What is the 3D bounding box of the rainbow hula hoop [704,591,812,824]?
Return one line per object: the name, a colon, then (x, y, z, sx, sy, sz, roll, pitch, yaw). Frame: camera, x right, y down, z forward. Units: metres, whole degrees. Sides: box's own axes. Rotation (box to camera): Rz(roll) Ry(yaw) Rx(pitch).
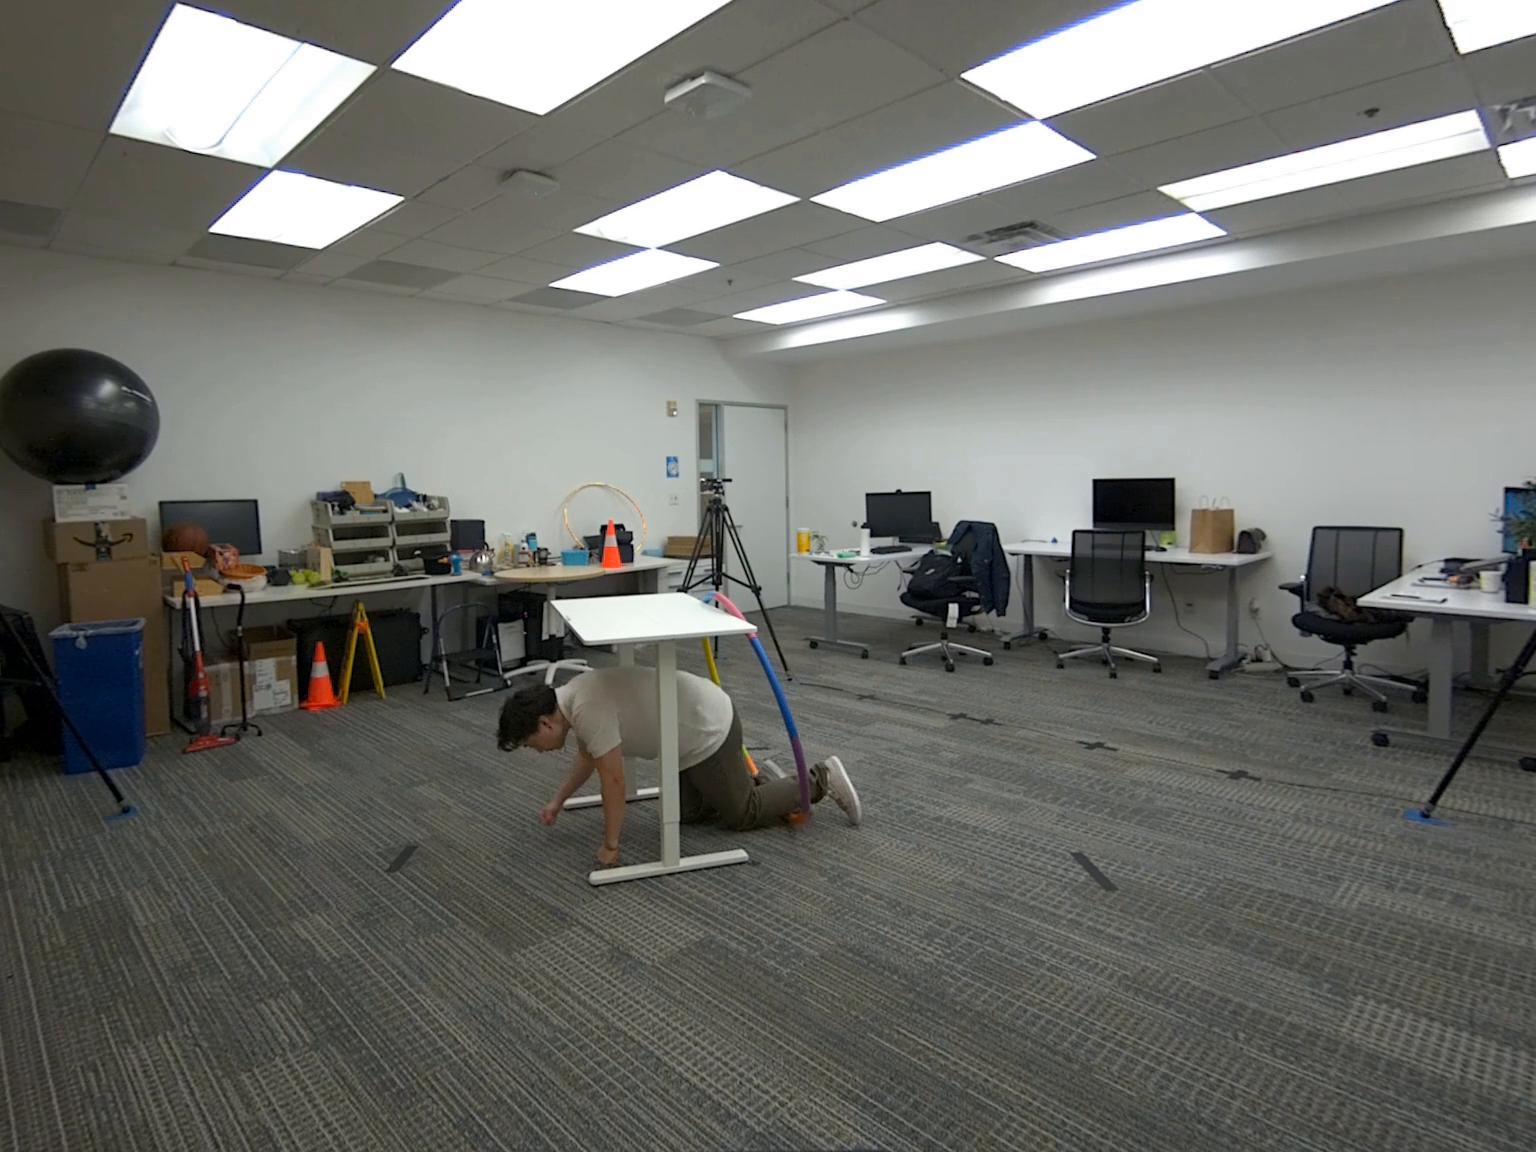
rainbow hula hoop: (-0.072, 0.532, 3.493, 0.035, 0.969, 0.999, -19, 10, -17)
